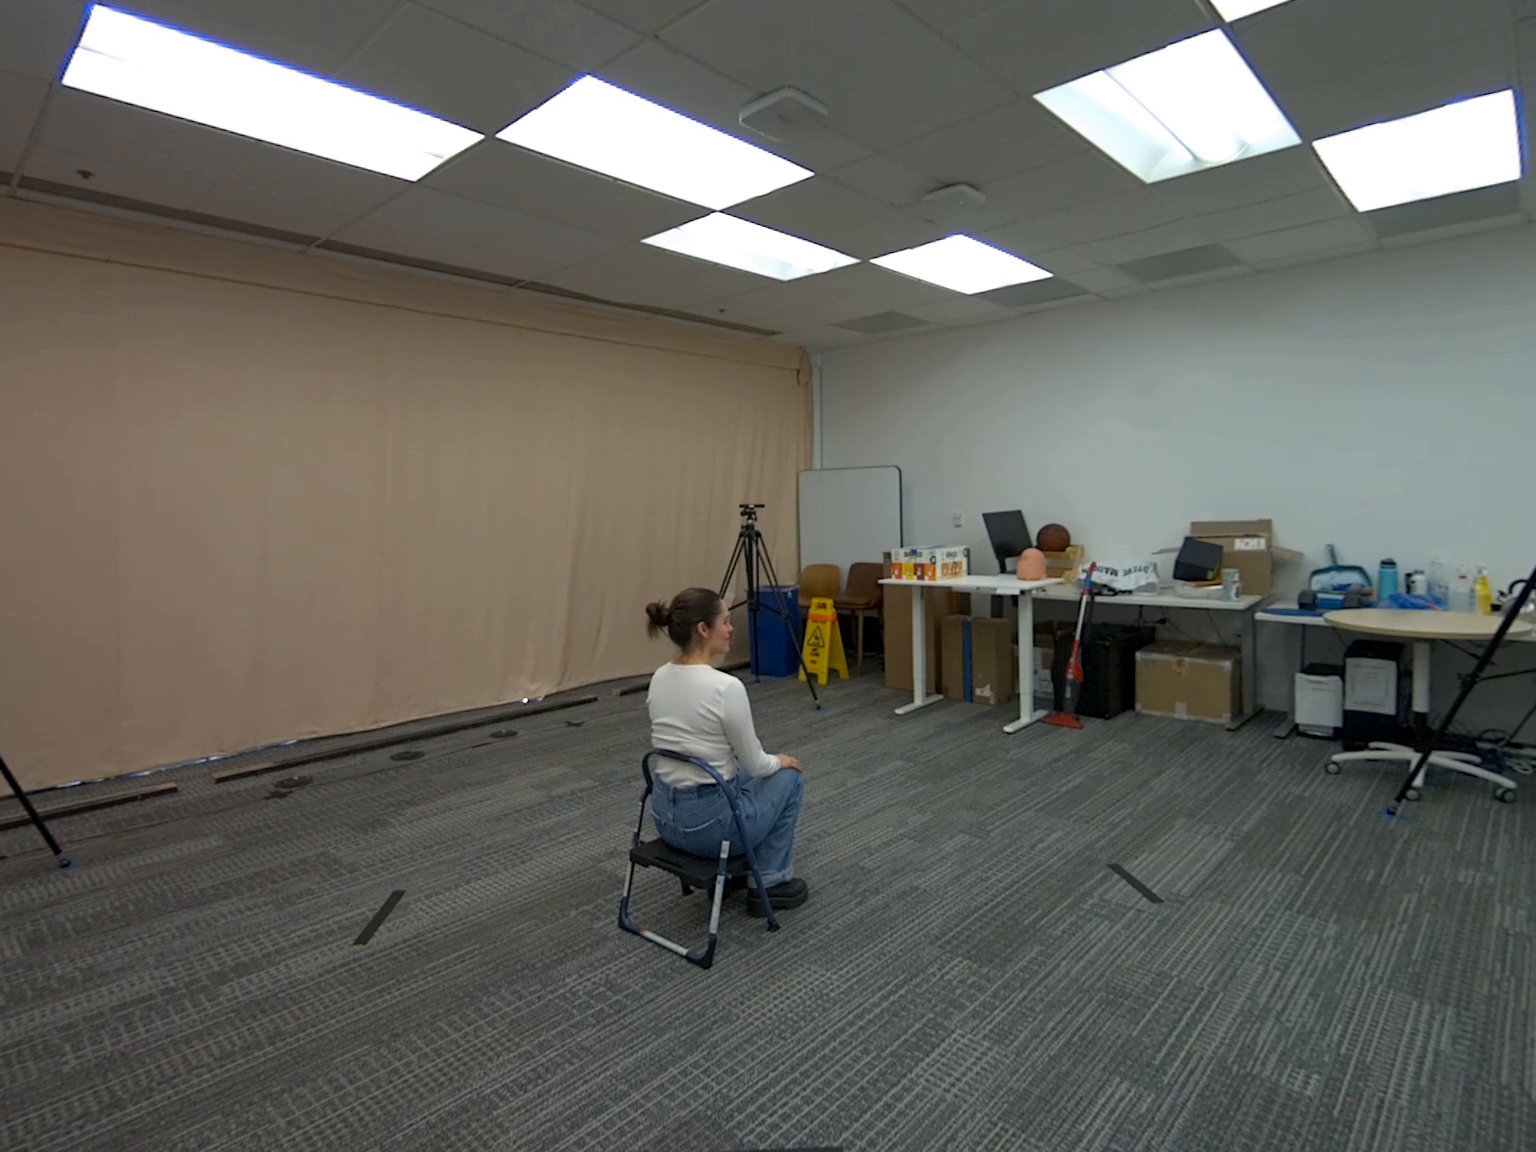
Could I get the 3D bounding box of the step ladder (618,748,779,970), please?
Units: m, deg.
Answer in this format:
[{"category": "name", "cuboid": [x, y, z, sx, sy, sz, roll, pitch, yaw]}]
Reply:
[{"category": "step ladder", "cuboid": [-0.241, 0.859, 2.765, 0.445, 0.605, 0.339, 2, 4, 40]}]
